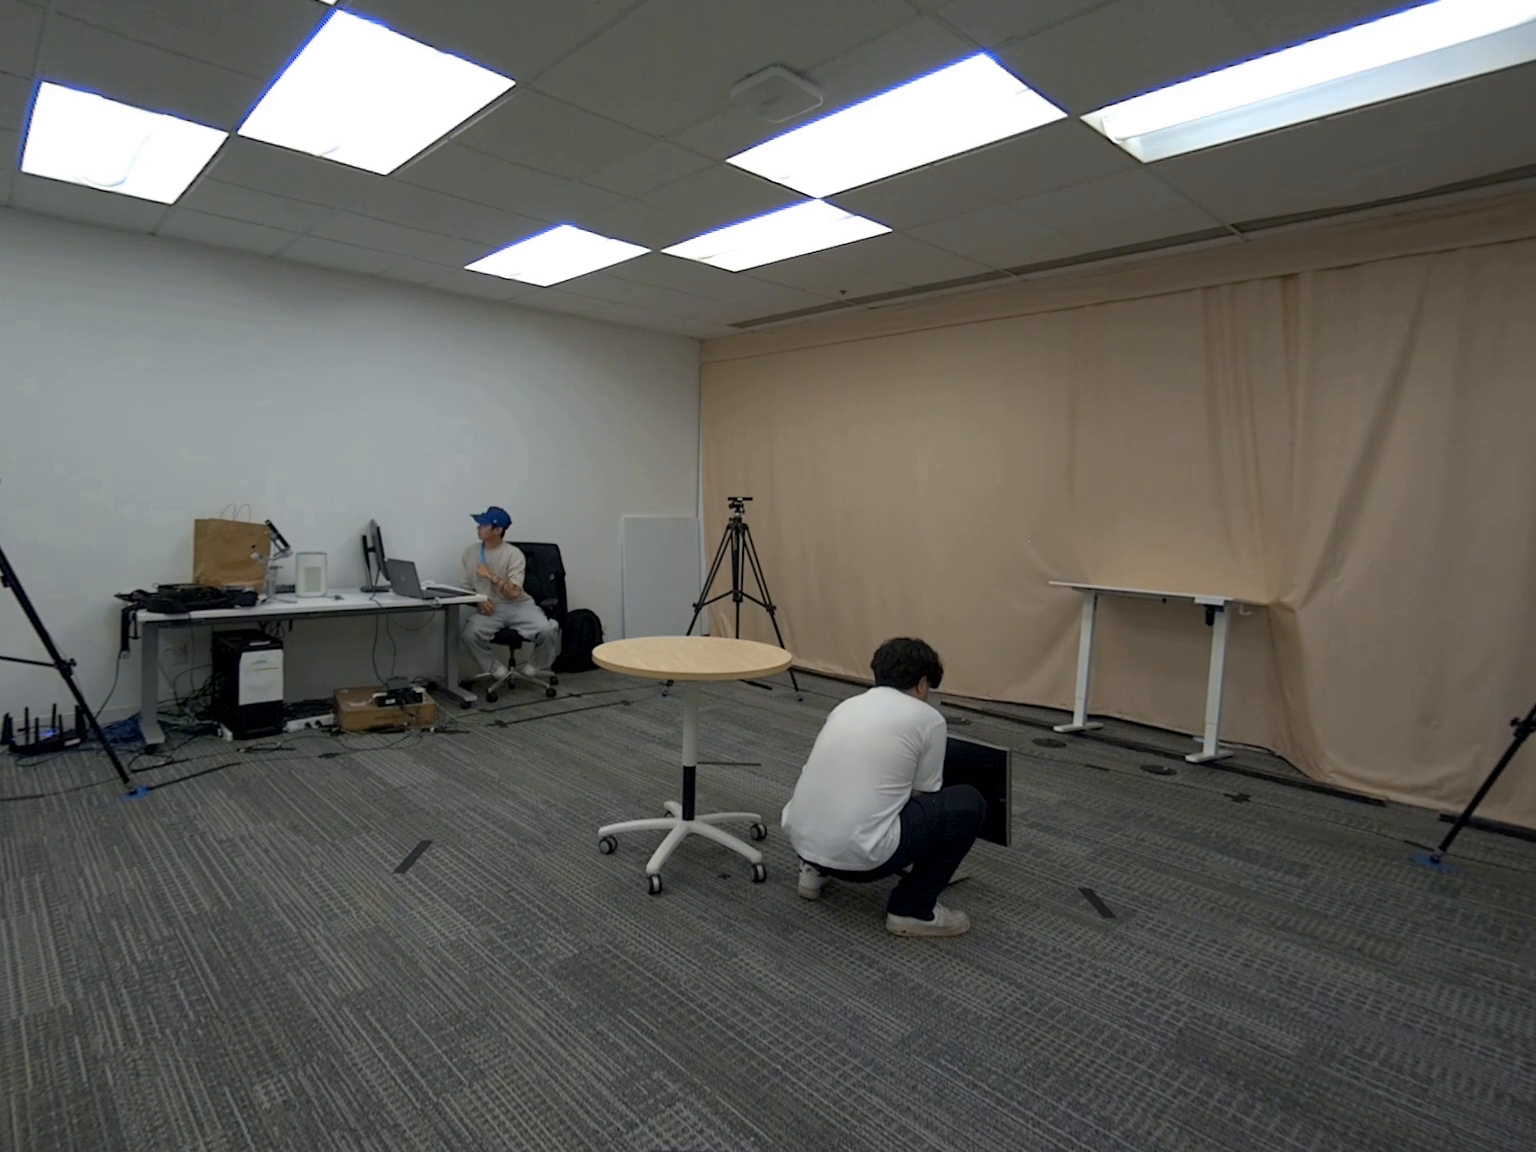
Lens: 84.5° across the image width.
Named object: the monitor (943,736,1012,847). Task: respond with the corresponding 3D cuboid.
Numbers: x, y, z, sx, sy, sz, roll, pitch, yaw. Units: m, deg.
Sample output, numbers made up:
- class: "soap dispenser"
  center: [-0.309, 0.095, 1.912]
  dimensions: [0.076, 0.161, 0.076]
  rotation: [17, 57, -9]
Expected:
- class: "monitor"
  center: [0.603, 0.864, 3.158]
  dimensions: [0.205, 0.553, 0.580]
  rotation: [0, 4, -44]
